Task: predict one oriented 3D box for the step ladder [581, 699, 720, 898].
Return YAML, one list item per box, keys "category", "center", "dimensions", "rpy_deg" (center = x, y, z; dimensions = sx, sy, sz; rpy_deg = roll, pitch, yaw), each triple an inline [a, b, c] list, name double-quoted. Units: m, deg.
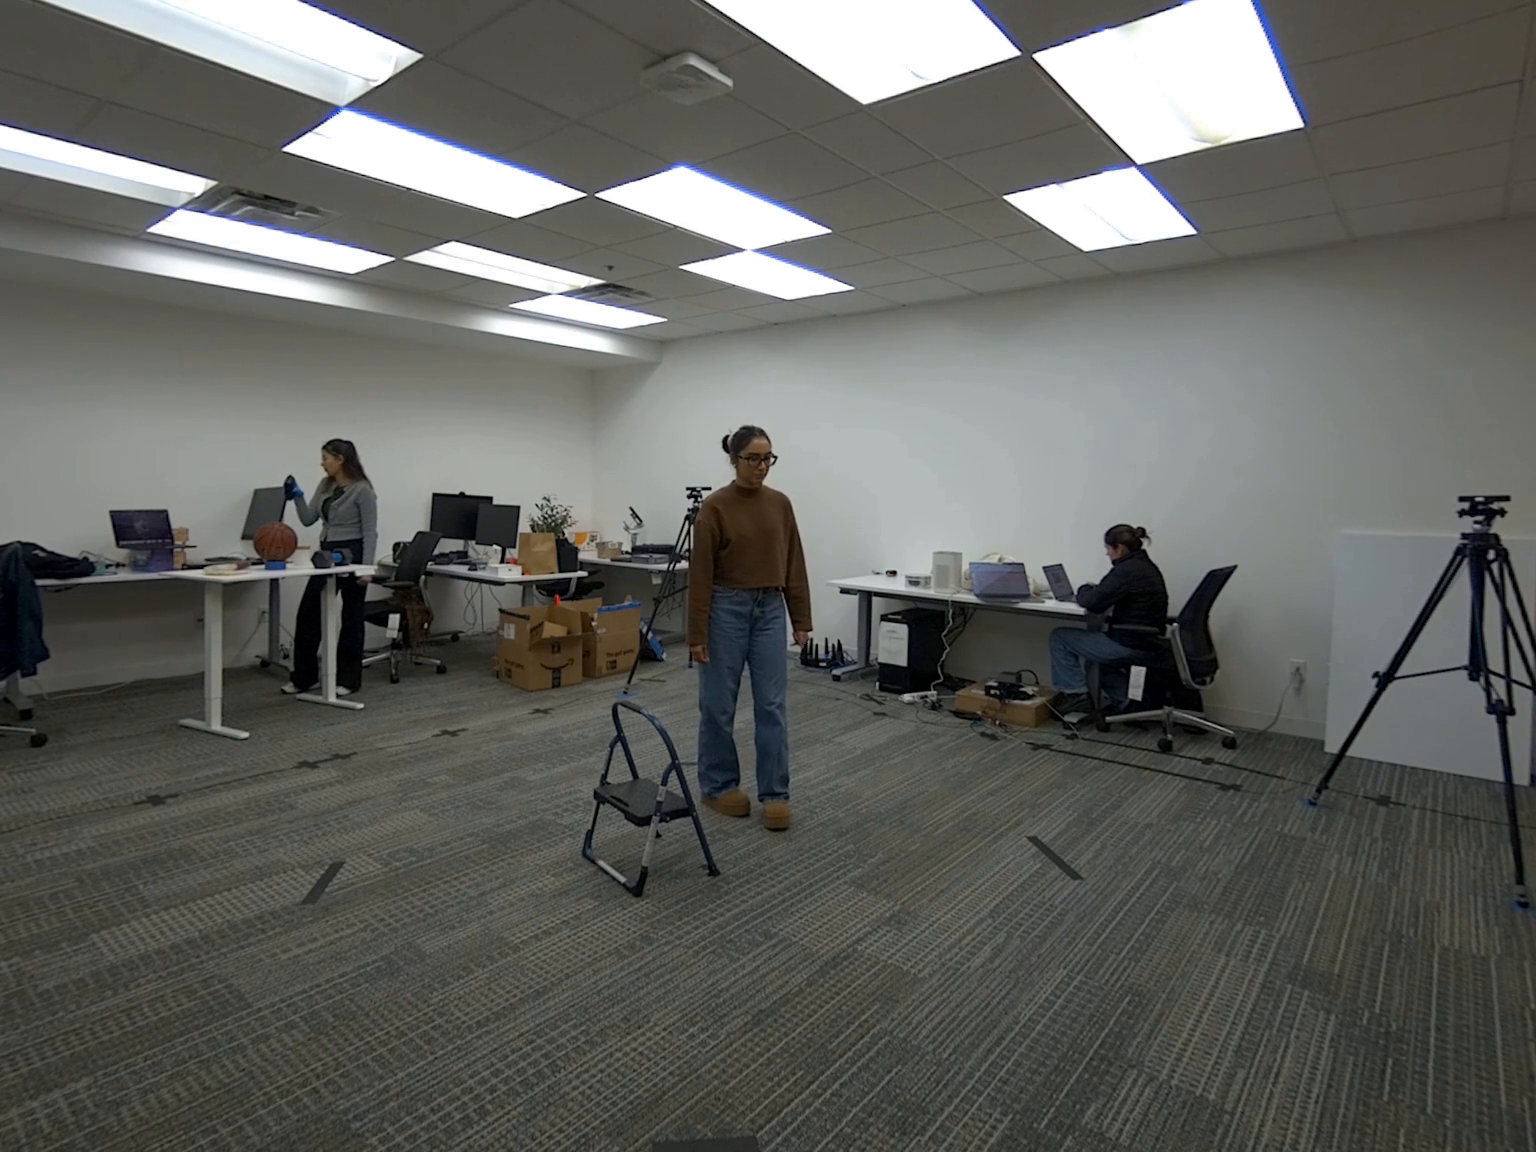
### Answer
- category: "step ladder"
  center: [-0.446, 0.755, 3.116]
  dimensions: [0.339, 0.604, 0.445]
  rpy_deg: [-2, 4, -39]
